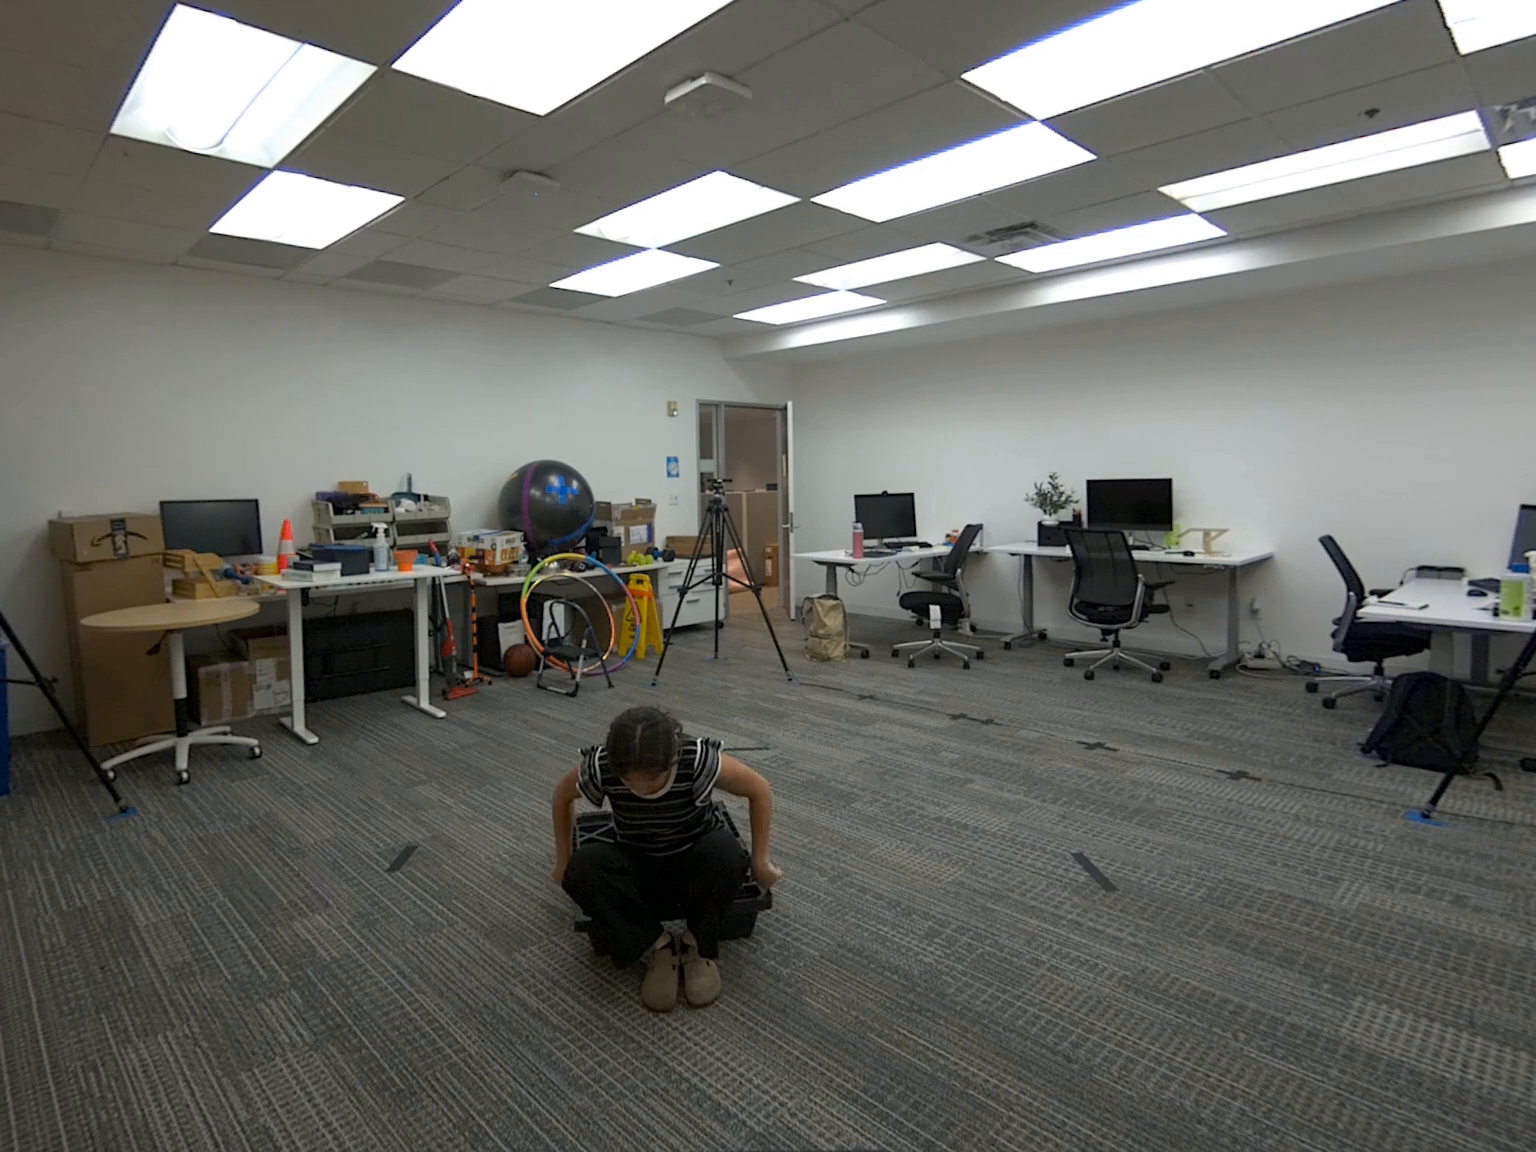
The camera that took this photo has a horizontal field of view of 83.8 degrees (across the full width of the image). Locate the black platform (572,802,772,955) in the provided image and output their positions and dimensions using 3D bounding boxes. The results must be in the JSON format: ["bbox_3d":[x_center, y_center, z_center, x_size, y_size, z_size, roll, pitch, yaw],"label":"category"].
[{"bbox_3d":[-0.365,1.005,2.915,0.598,0.142,0.819,-4,7,-13],"label":"black platform"}]
